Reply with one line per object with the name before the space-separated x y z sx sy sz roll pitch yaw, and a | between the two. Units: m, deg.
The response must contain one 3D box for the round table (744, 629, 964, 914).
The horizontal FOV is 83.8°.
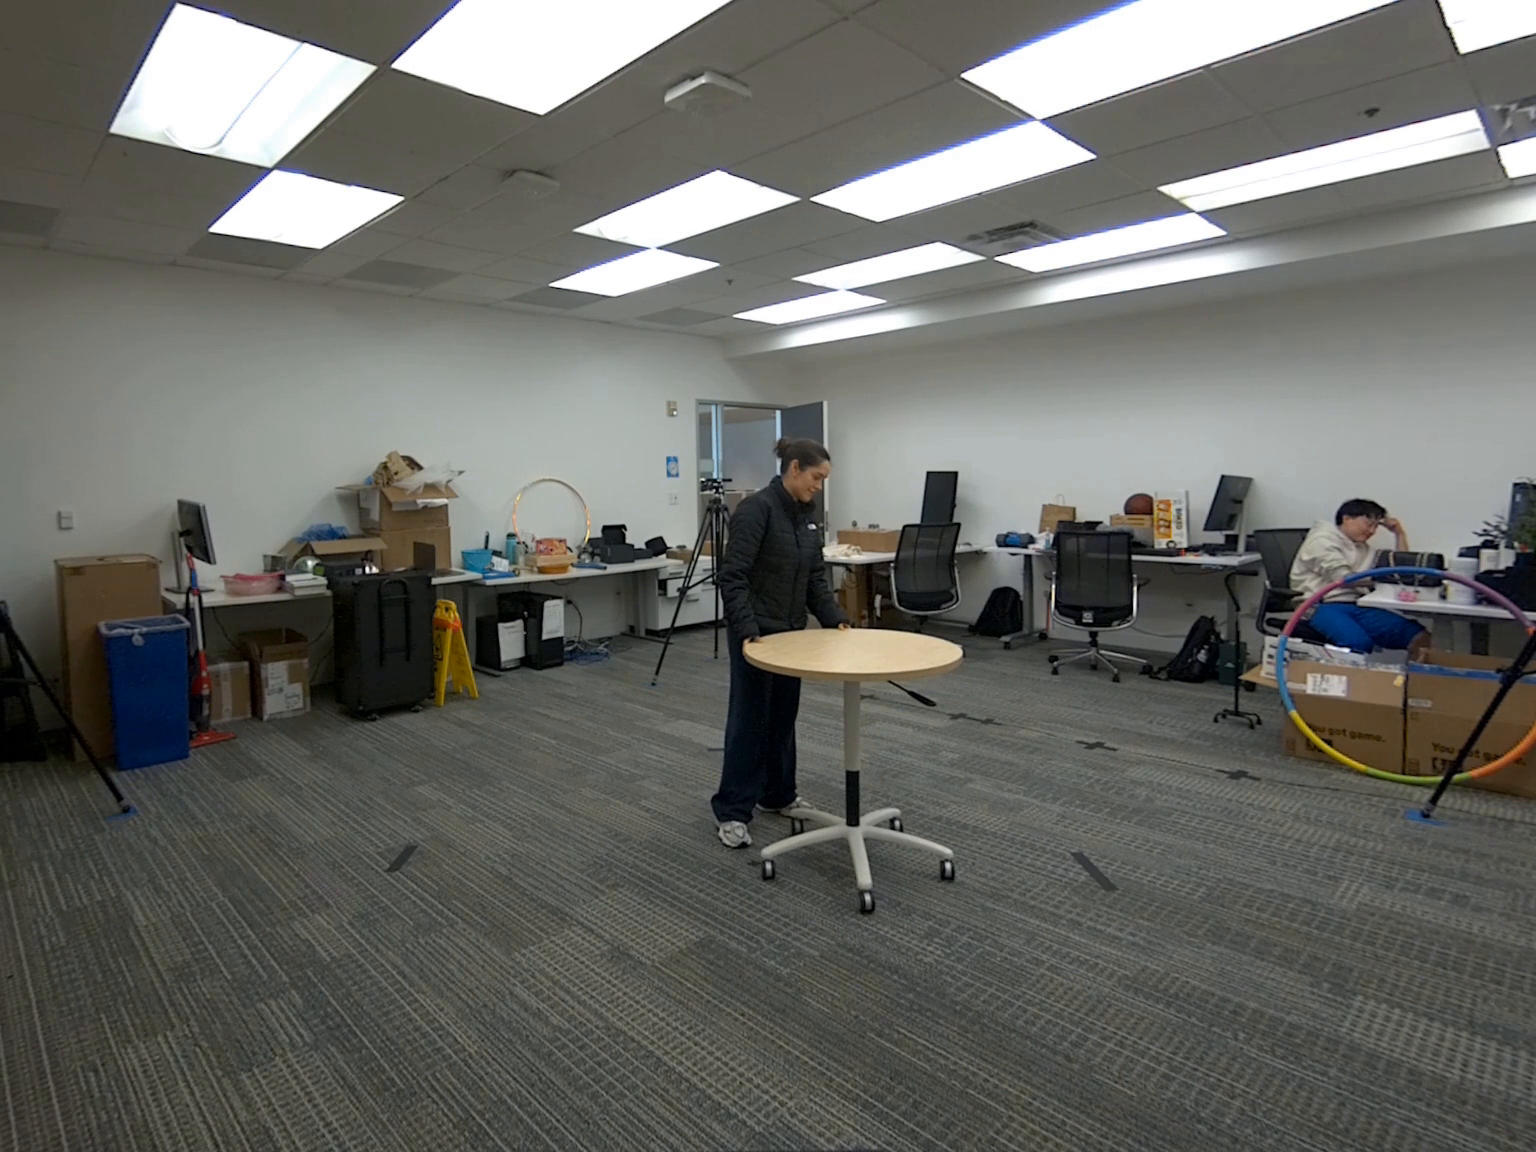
round table | 0.301 0.646 3.095 0.784 0.783 0.789 0 5 -2
